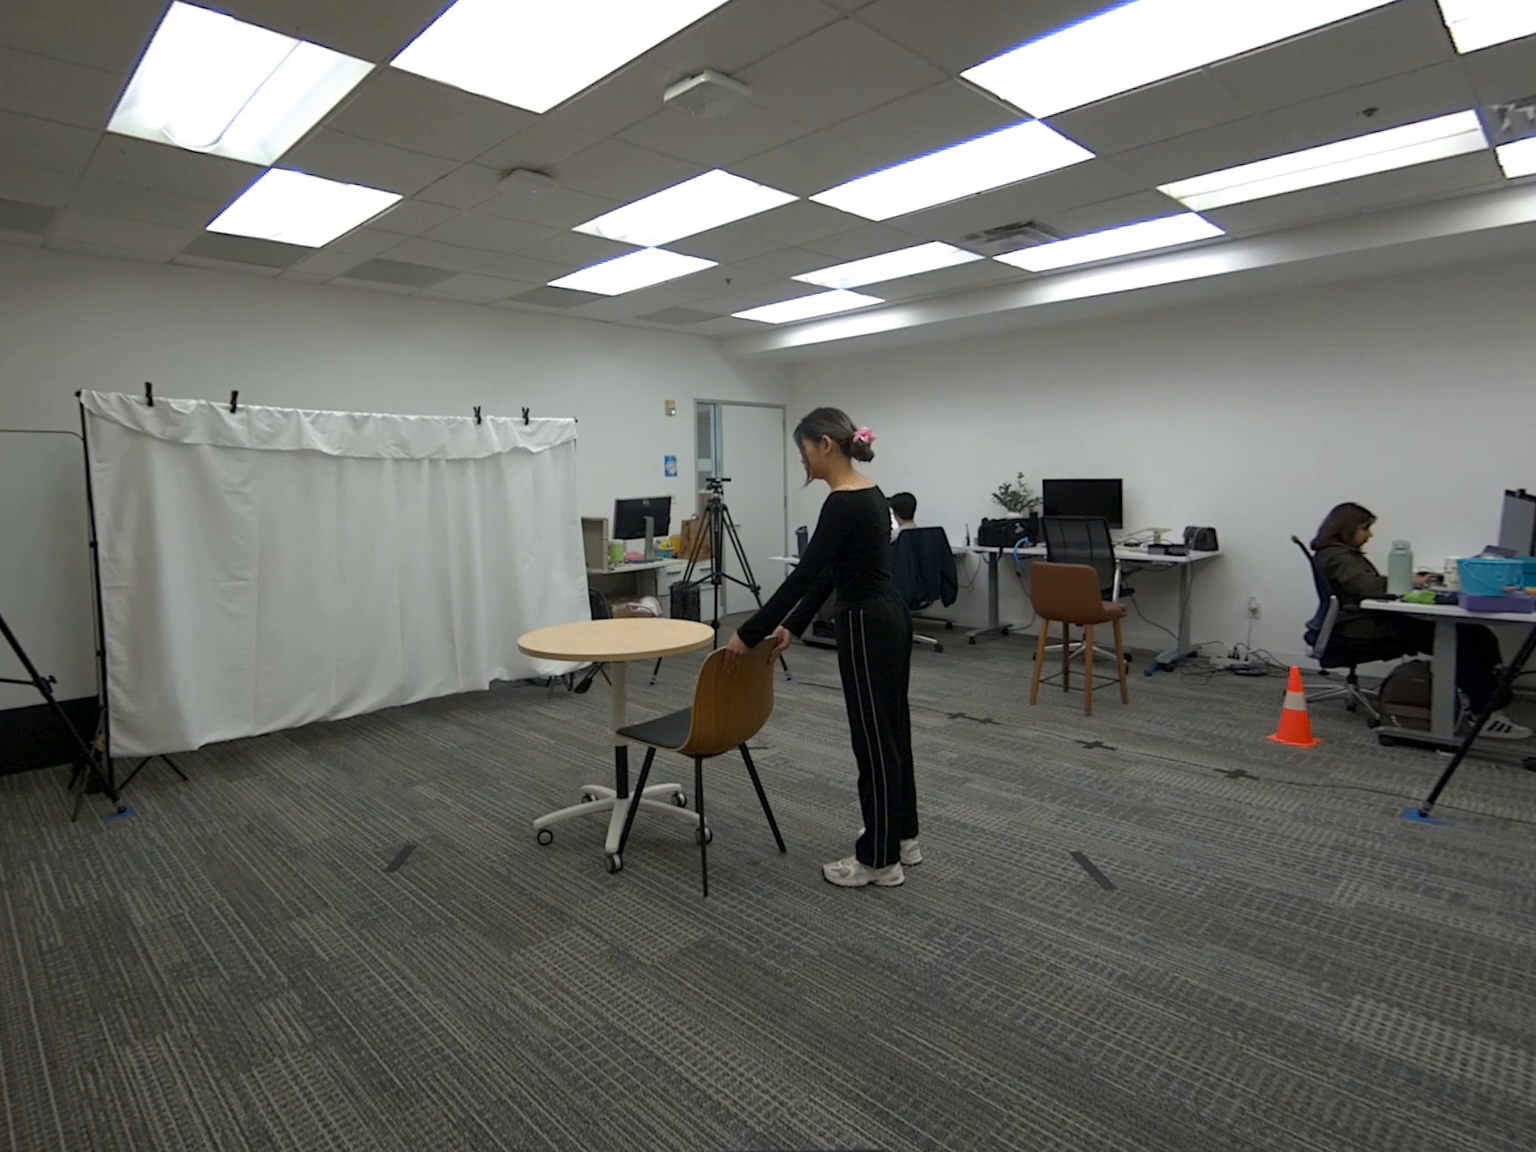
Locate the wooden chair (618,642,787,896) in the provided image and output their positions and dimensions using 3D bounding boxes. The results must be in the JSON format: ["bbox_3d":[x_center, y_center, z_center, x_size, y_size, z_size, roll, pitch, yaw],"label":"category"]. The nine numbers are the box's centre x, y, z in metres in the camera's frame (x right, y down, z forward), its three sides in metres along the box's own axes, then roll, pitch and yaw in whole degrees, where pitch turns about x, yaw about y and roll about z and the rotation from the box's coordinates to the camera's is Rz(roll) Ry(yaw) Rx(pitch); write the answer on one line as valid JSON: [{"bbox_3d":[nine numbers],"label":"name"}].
[{"bbox_3d":[-0.255,0.610,3.137,0.540,0.871,0.466,9,10,39],"label":"wooden chair"}]
